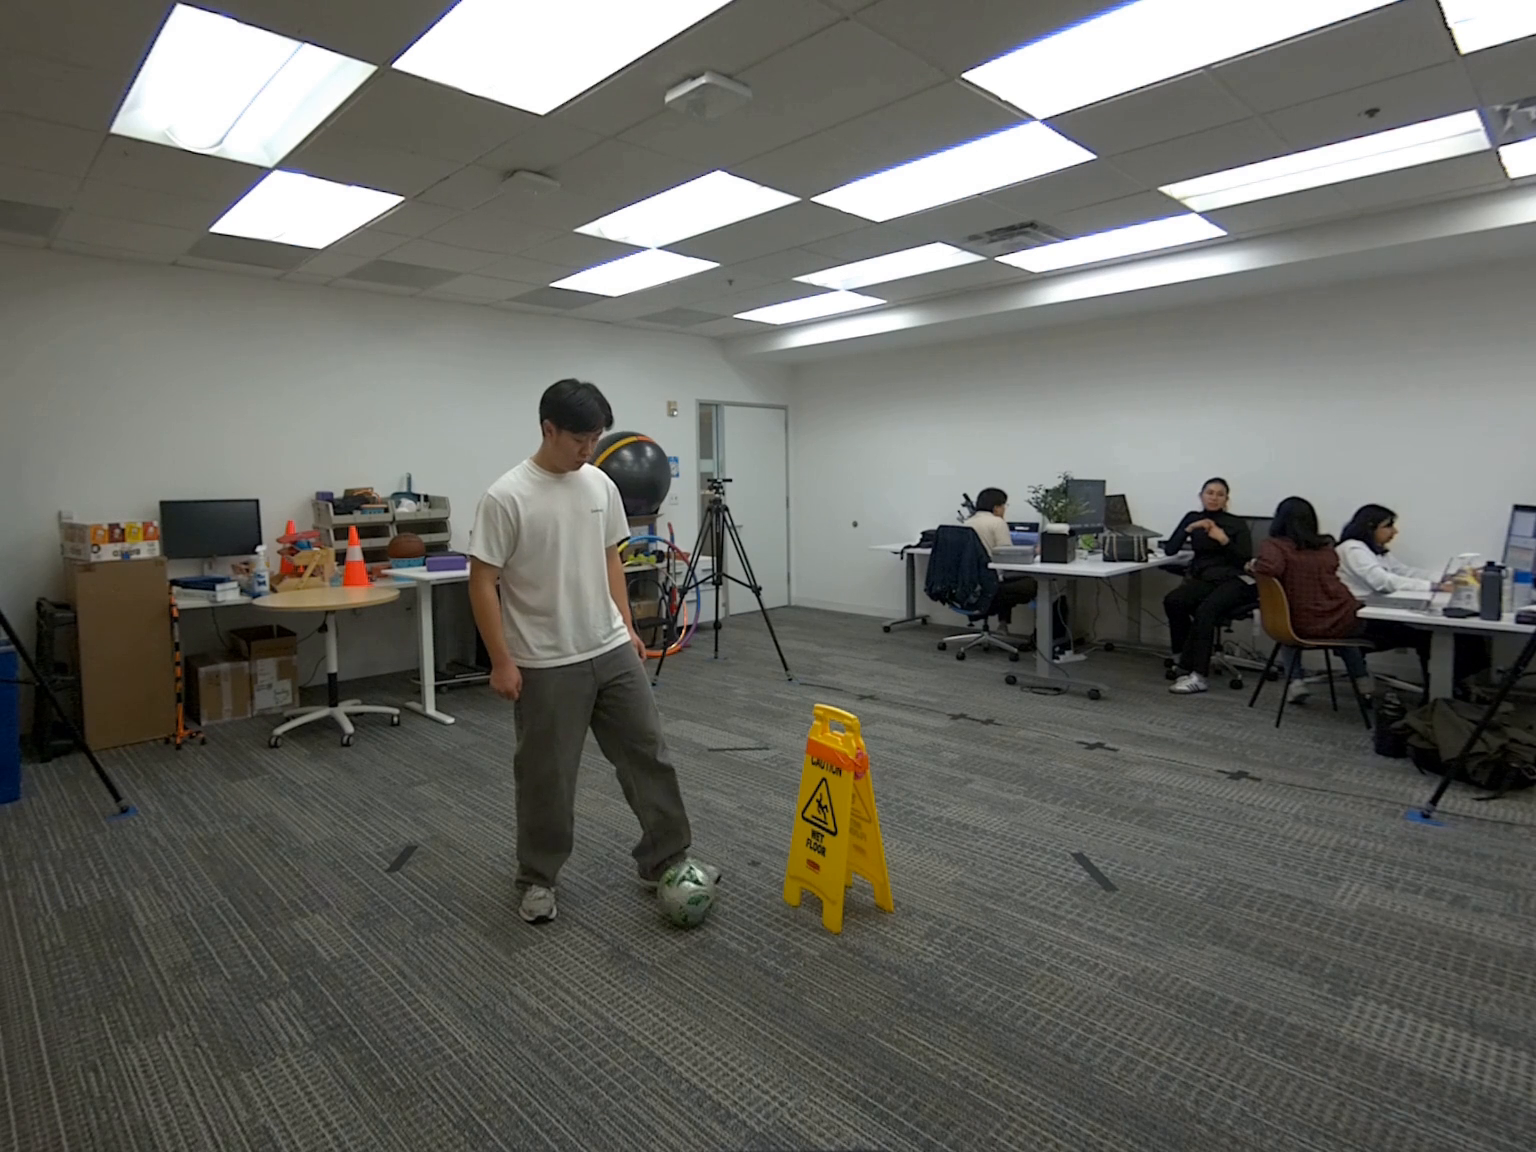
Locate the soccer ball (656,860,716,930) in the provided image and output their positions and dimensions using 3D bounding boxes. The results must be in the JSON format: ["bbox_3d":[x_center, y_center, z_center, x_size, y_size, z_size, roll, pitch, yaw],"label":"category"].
[{"bbox_3d":[-0.268,1.000,2.691,0.187,0.187,0.188,-1,5,-2],"label":"soccer ball"}]
